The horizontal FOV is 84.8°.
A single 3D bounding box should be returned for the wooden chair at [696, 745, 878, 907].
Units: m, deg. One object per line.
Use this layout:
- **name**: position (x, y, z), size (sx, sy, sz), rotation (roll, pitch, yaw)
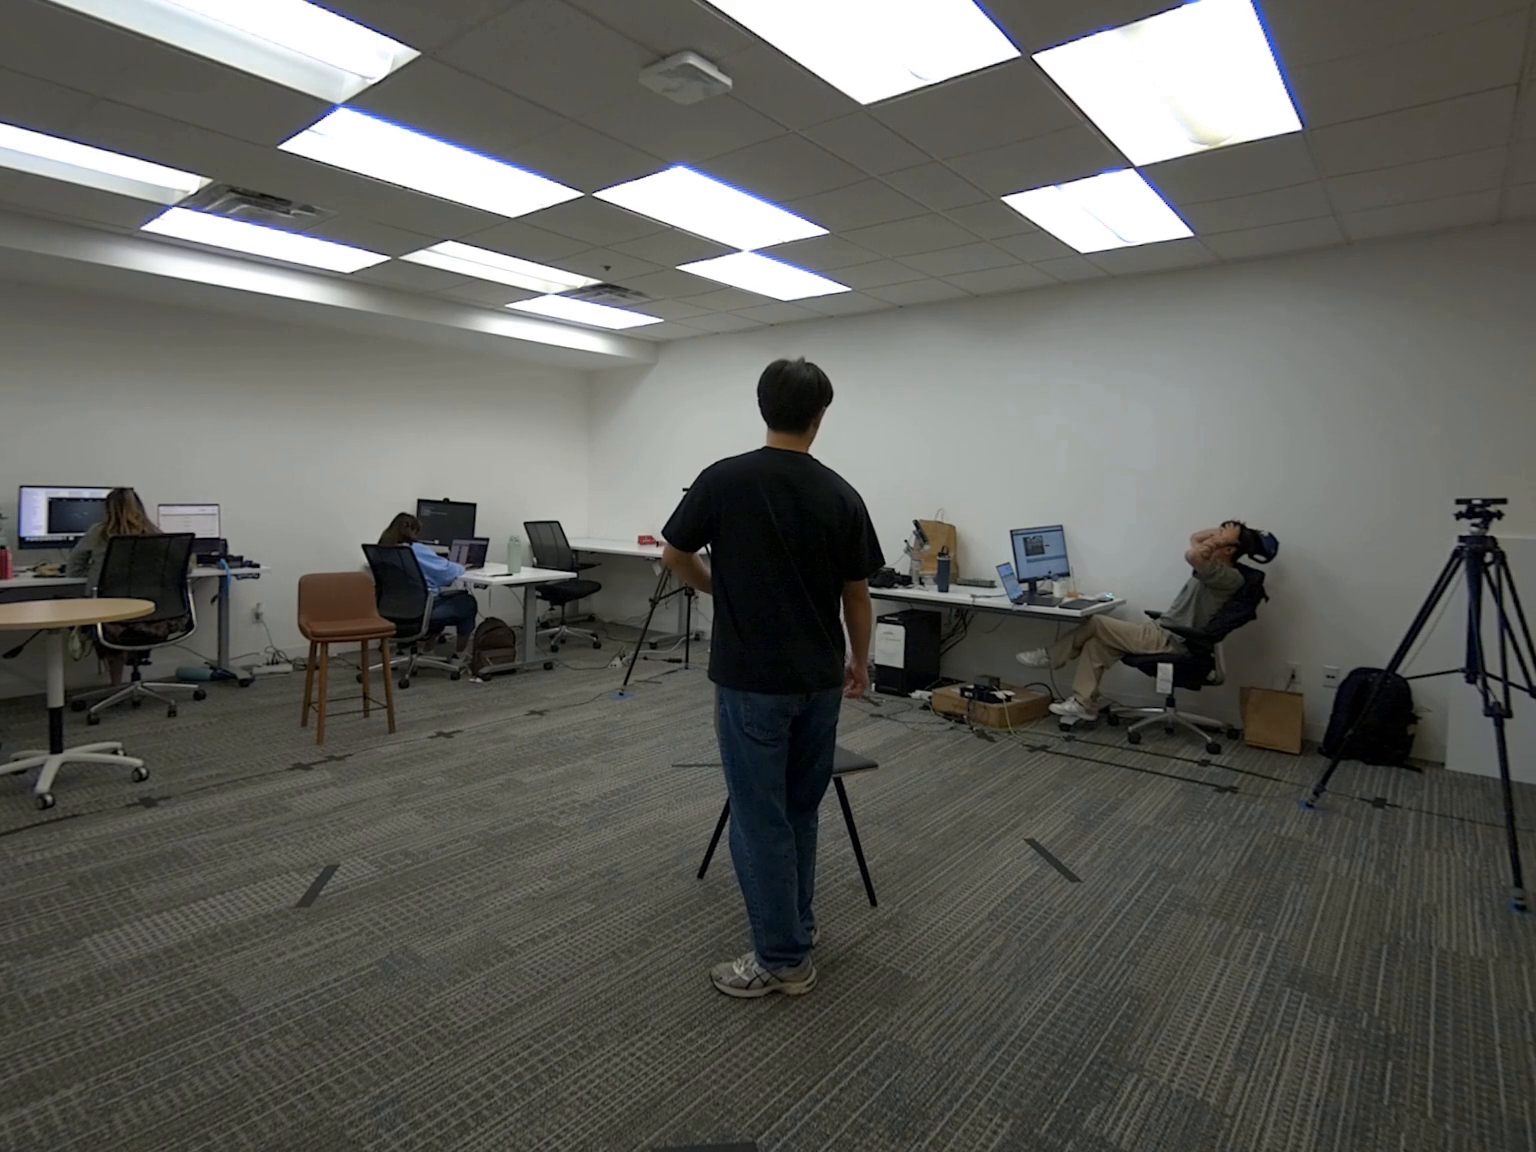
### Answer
- **wooden chair**: position (0.064, 0.662, 2.932), size (0.510, 0.873, 0.492), rotation (-5, 6, -30)
